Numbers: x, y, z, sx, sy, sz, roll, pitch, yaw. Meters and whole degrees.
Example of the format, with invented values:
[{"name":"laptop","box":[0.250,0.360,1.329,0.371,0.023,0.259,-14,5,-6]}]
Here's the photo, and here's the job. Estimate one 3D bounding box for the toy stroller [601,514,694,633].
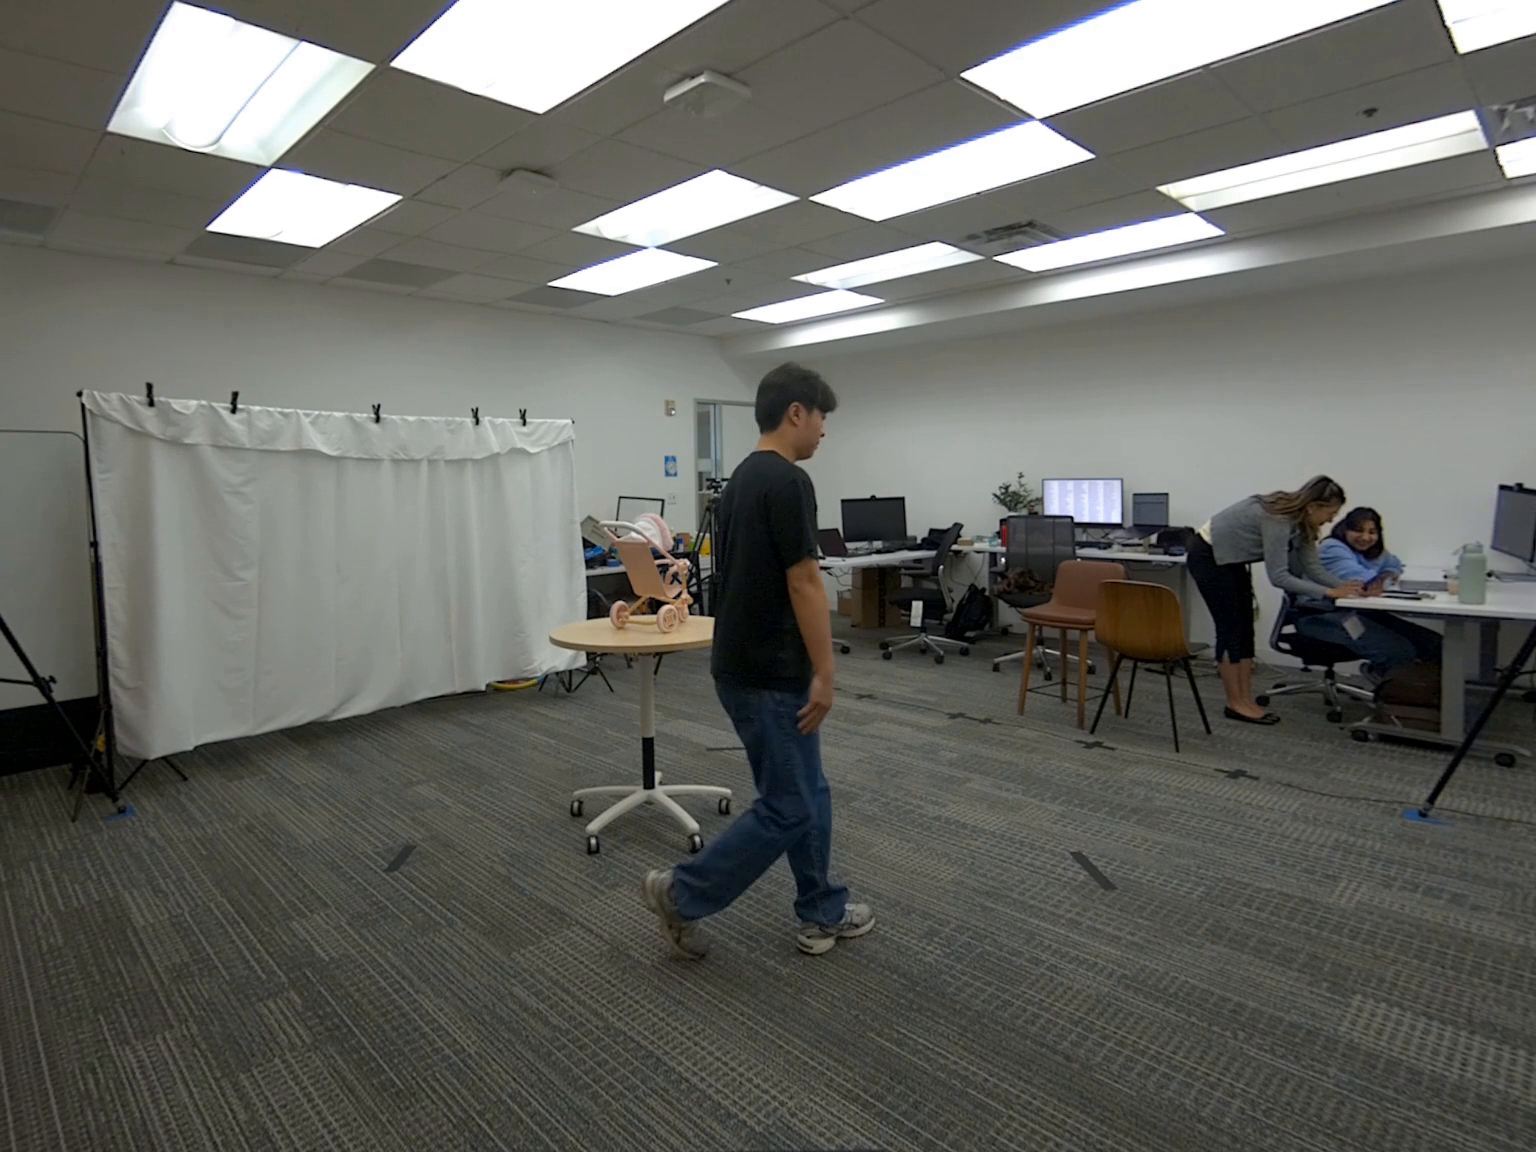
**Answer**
[{"name":"toy stroller","box":[-0.462,-0.013,3.462,0.290,0.527,0.337,2,19,37]}]
